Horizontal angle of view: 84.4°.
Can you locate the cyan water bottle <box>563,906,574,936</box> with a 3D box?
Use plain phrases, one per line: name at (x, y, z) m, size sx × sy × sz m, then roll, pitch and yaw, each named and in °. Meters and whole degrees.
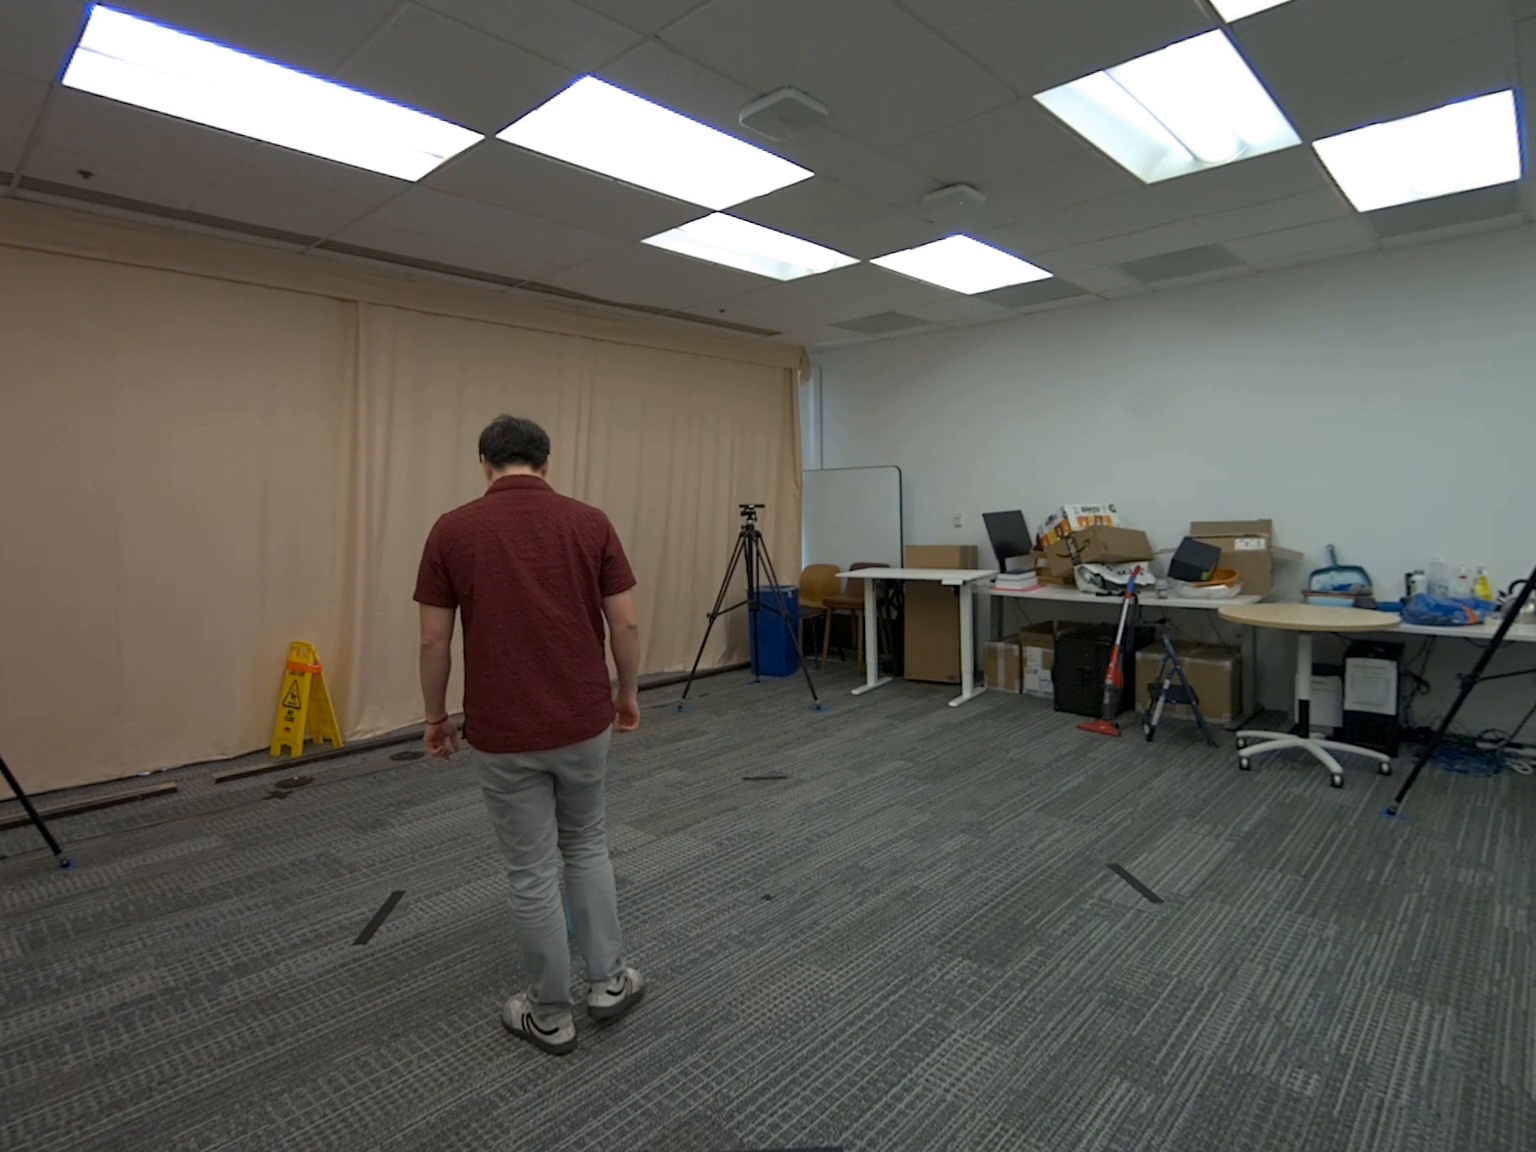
cyan water bottle at (-0.629, 1.035, 2.774) m, size 0.092 × 0.283 × 0.092 m, roll -1°, pitch 2°, yaw -2°
